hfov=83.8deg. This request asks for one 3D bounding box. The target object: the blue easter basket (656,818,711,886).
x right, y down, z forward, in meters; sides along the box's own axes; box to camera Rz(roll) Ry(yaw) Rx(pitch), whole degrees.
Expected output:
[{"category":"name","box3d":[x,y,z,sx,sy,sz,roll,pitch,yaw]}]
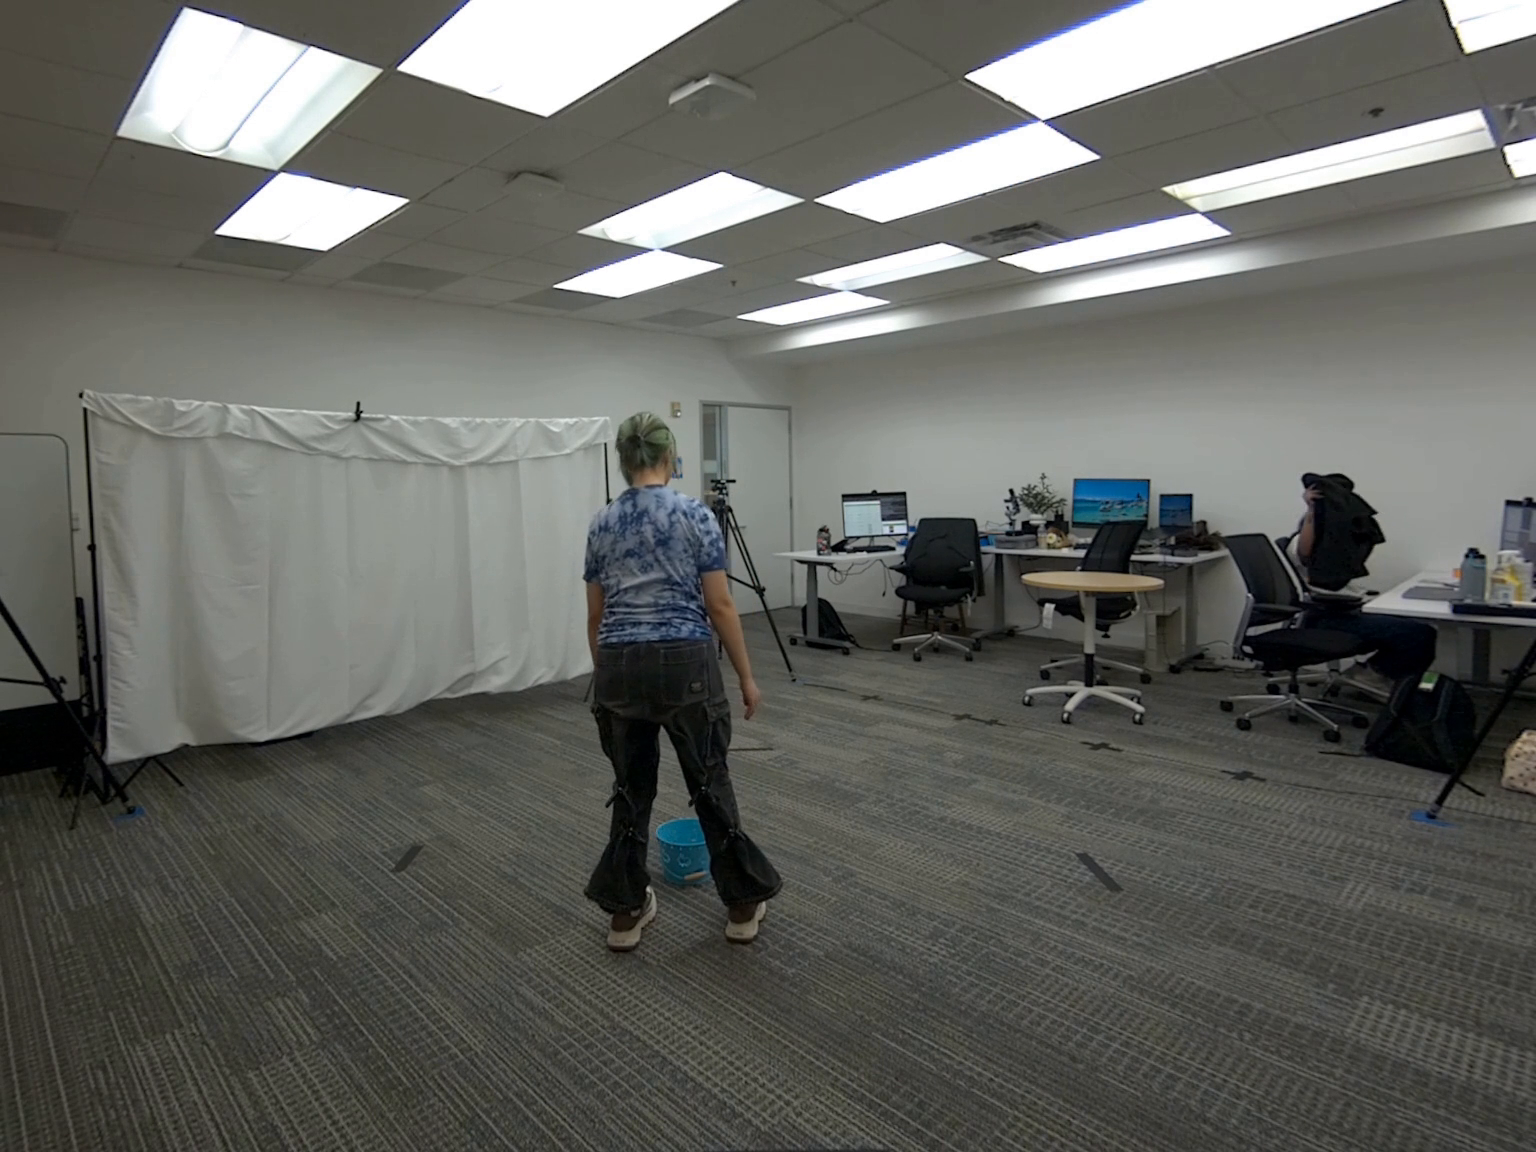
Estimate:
[{"category":"blue easter basket","box3d":[-0.285,0.978,3.039,0.243,0.155,0.245,-1,6,-2]}]
